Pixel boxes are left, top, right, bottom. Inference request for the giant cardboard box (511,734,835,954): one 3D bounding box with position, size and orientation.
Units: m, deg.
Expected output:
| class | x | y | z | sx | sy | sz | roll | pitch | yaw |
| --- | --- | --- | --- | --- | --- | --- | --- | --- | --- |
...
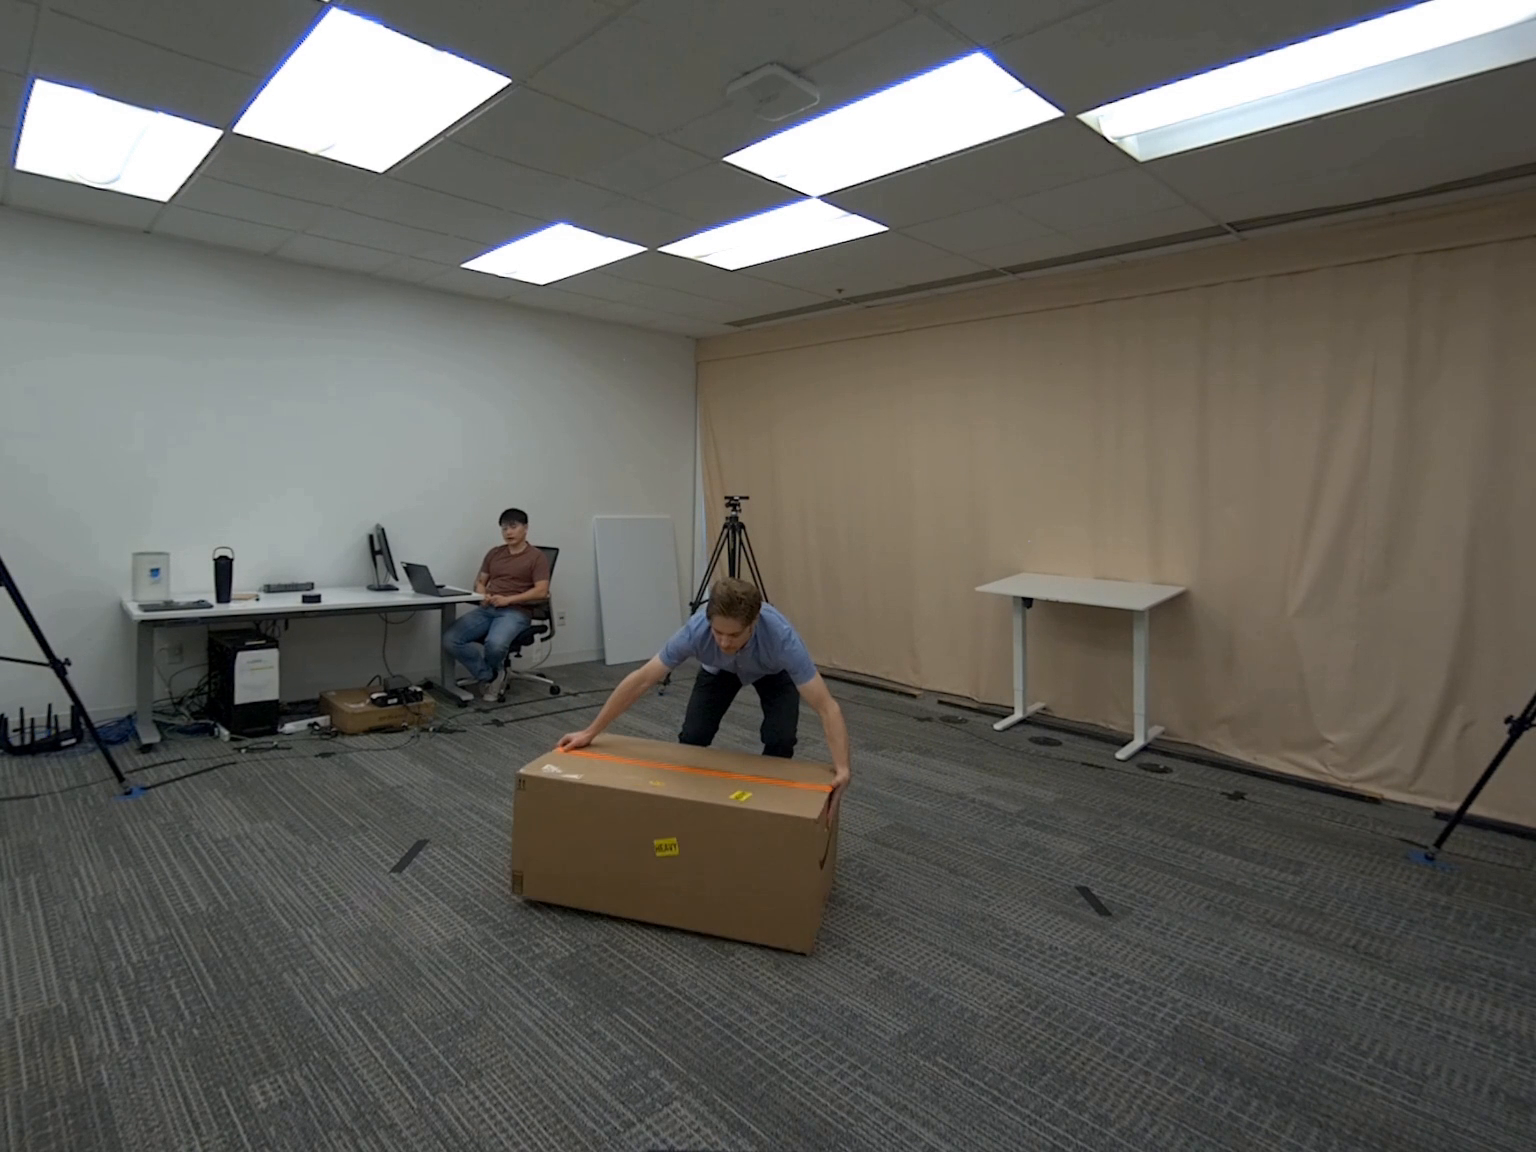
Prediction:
| class | x | y | z | sx | sy | sz | roll | pitch | yaw |
| --- | --- | --- | --- | --- | --- | --- | --- | --- | --- |
| giant cardboard box | -0.294 | 0.874 | 2.935 | 1.039 | 0.446 | 0.577 | 3 | 2 | 14 |
